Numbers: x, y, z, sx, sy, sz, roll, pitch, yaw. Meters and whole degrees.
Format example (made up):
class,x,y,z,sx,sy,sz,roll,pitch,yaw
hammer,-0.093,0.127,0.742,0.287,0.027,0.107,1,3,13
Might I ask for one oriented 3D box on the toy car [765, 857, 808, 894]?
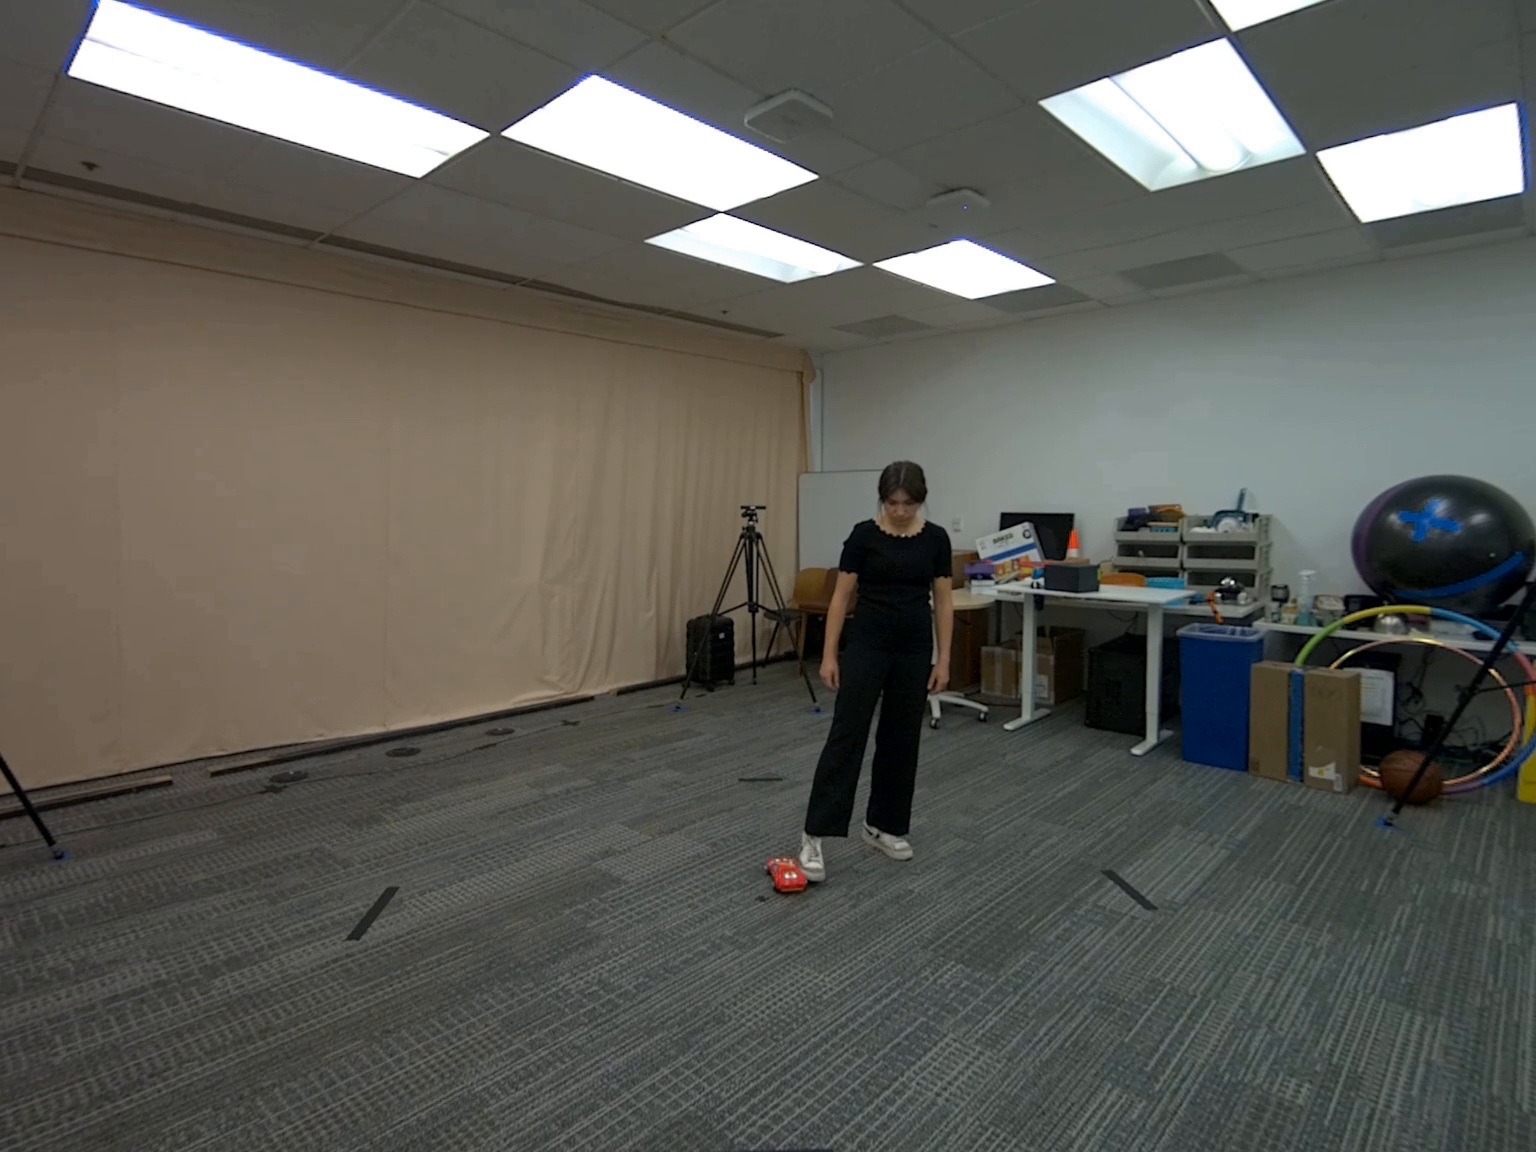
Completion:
class,x,y,z,sx,sy,sz,roll,pitch,yaw
toy car,0.072,1.100,3.095,0.129,0.083,0.255,-2,-6,-8
